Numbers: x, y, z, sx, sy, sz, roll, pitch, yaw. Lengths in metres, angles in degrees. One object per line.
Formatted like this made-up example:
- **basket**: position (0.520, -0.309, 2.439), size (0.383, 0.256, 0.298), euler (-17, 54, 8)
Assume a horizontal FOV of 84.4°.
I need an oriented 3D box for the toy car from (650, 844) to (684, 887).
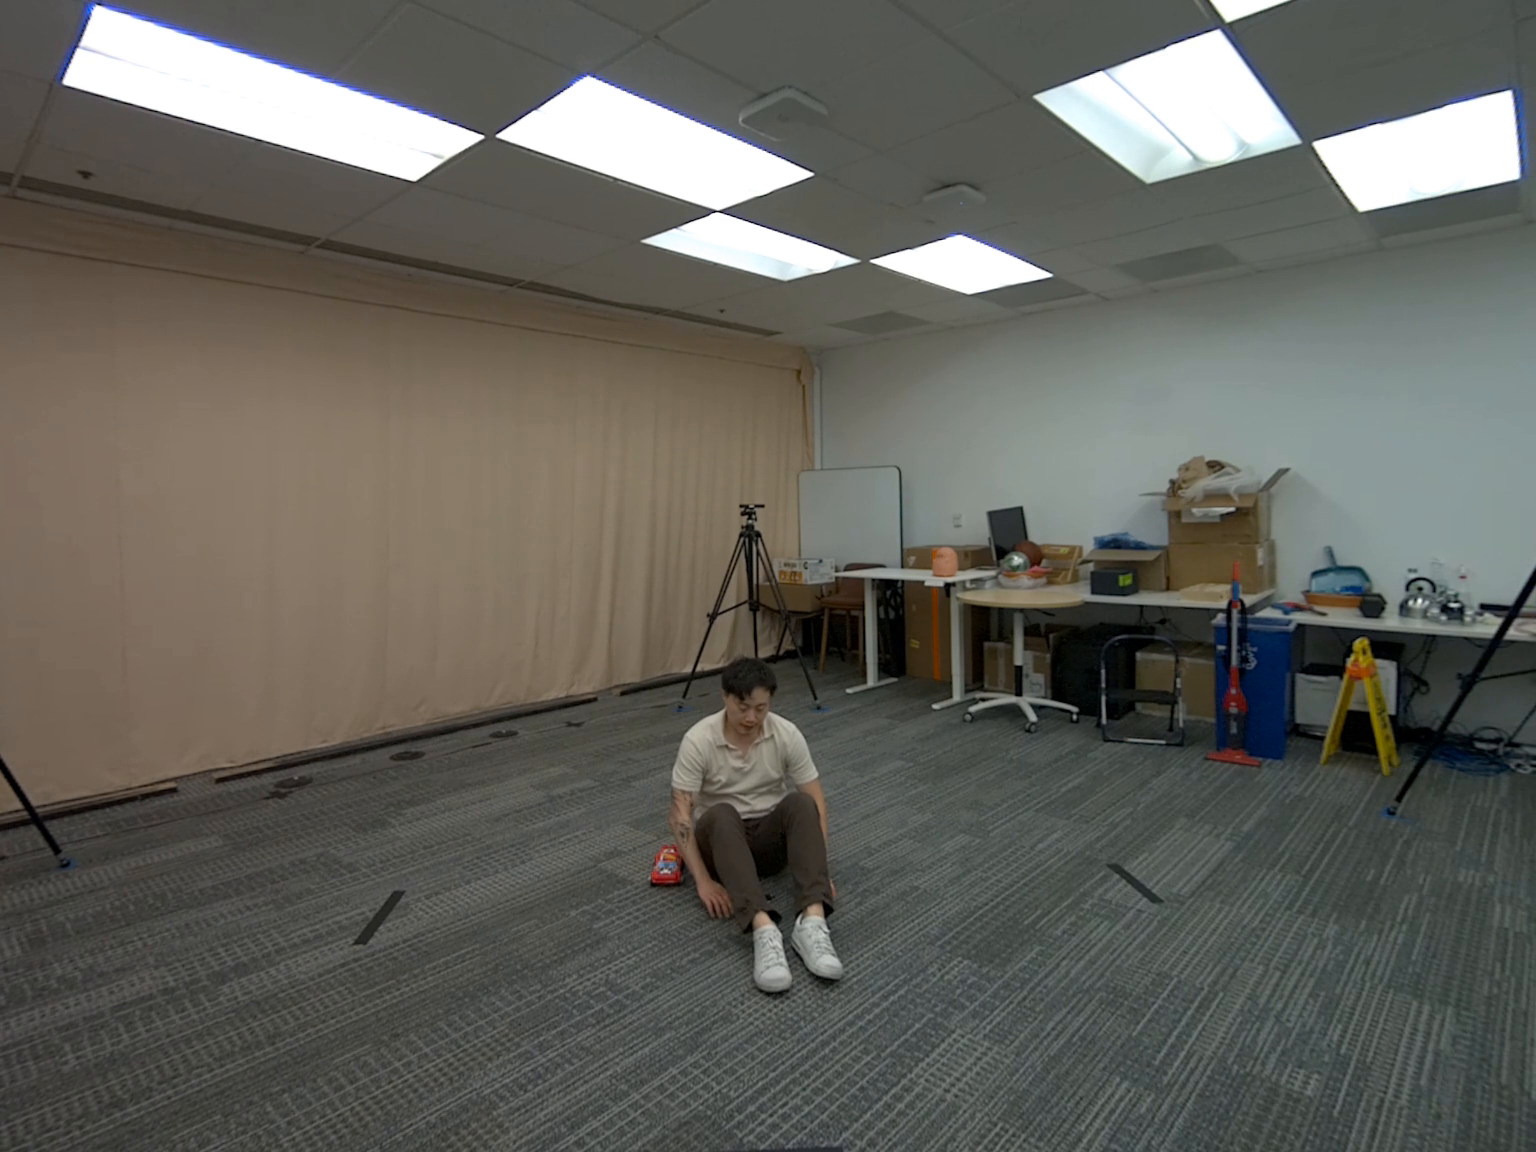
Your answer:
- **toy car**: position (-0.378, 1.105, 3.195), size (0.130, 0.082, 0.257), euler (-2, 15, -1)
